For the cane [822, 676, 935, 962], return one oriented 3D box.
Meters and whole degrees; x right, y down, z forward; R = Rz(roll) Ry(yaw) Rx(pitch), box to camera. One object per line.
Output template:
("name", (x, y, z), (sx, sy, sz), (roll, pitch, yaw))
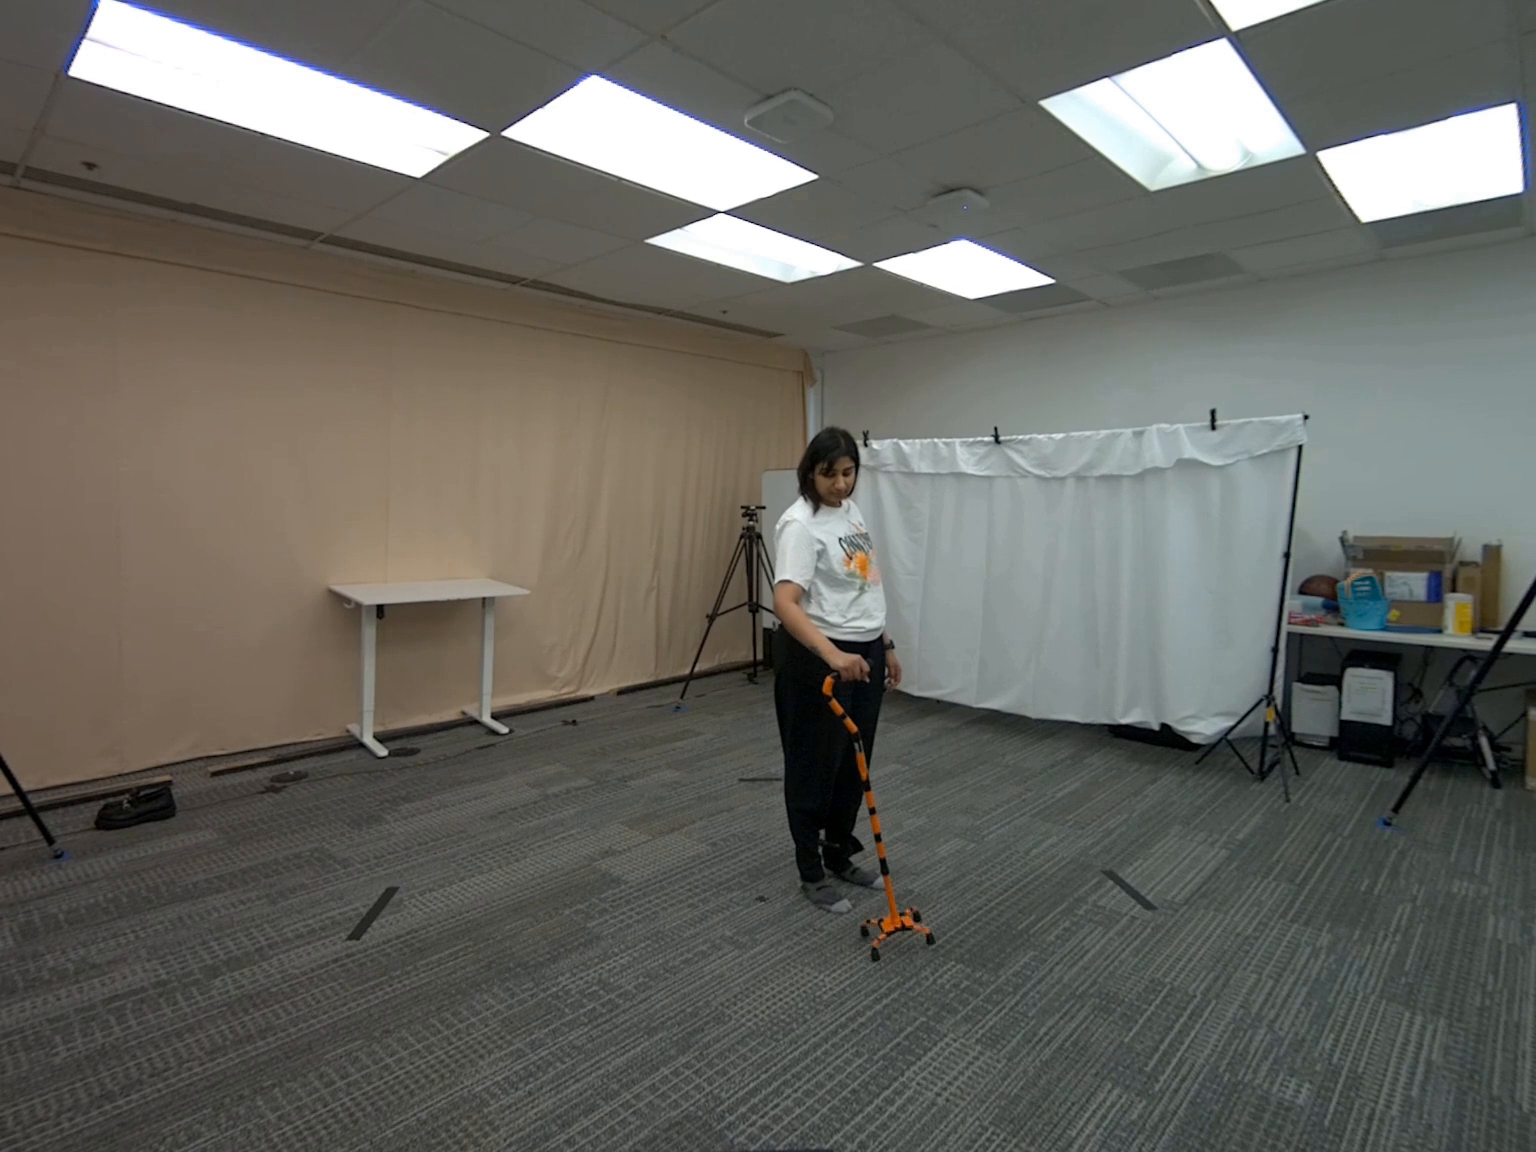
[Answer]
("cane", (0.314, 0.708, 2.577), (0.206, 0.901, 0.153), (-14, 9, -4))
